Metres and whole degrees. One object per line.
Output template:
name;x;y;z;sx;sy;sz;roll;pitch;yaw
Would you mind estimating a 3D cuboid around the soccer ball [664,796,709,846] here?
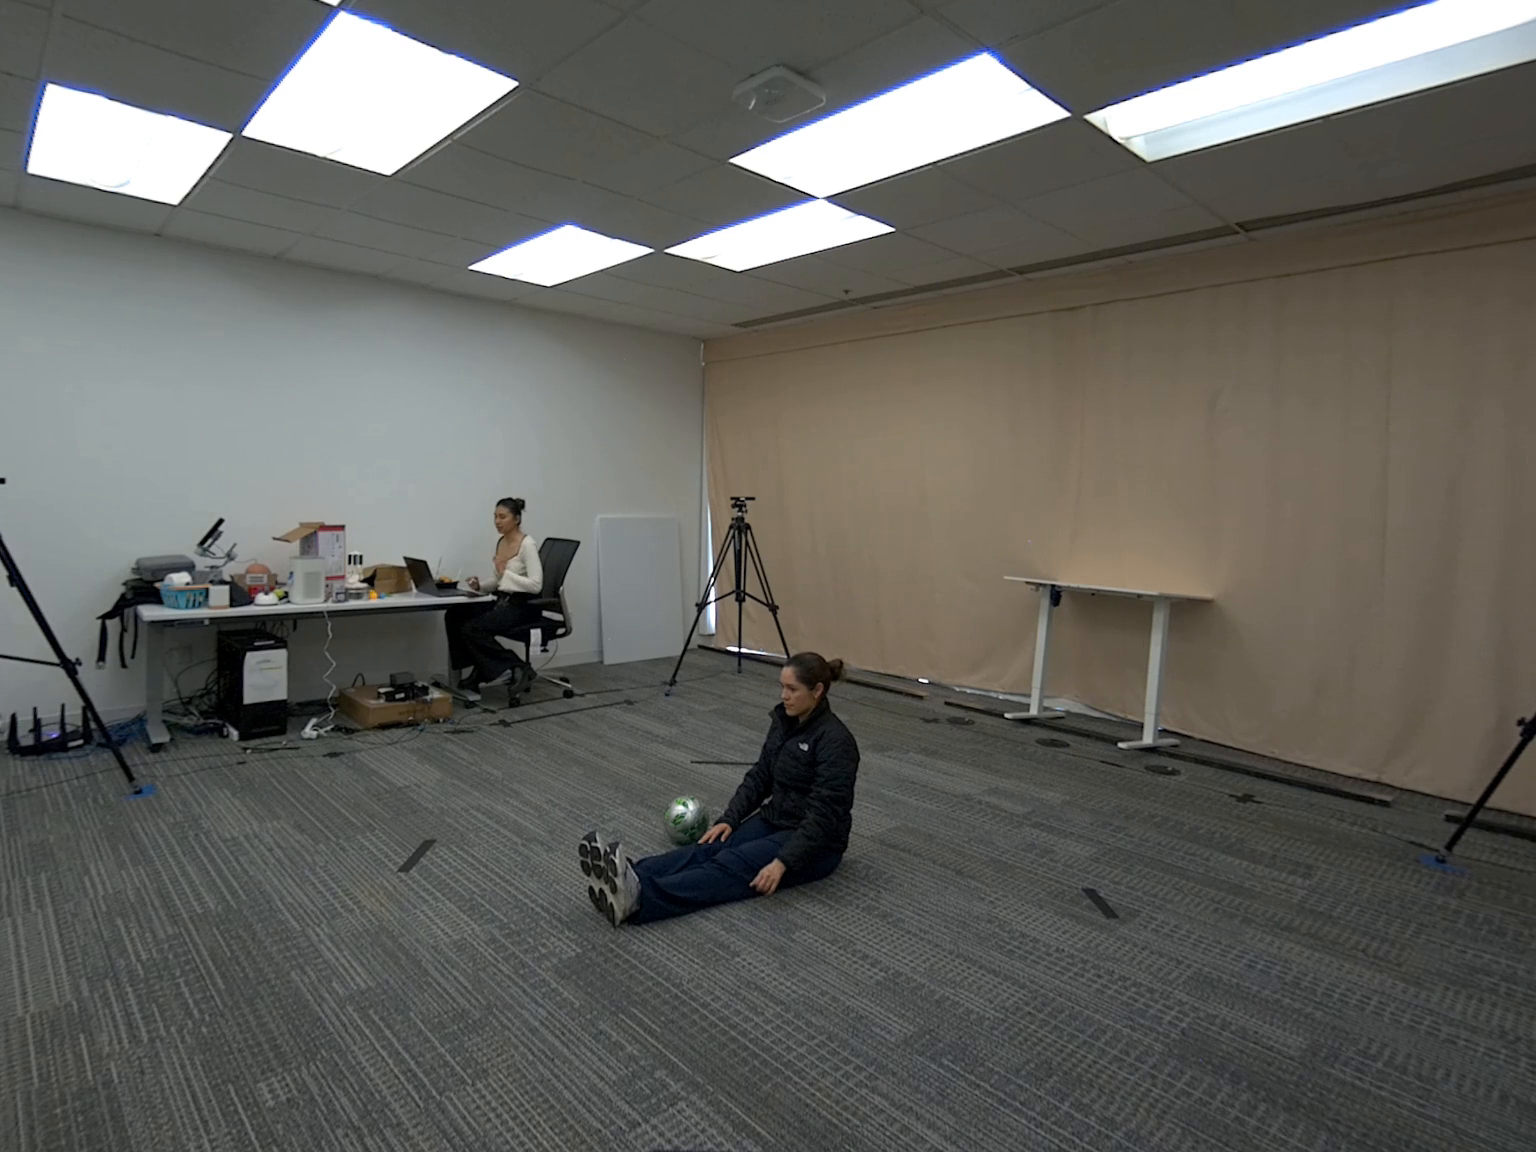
soccer ball;-0.332;0.978;3.400;0.187;0.187;0.188;1;4;-1
